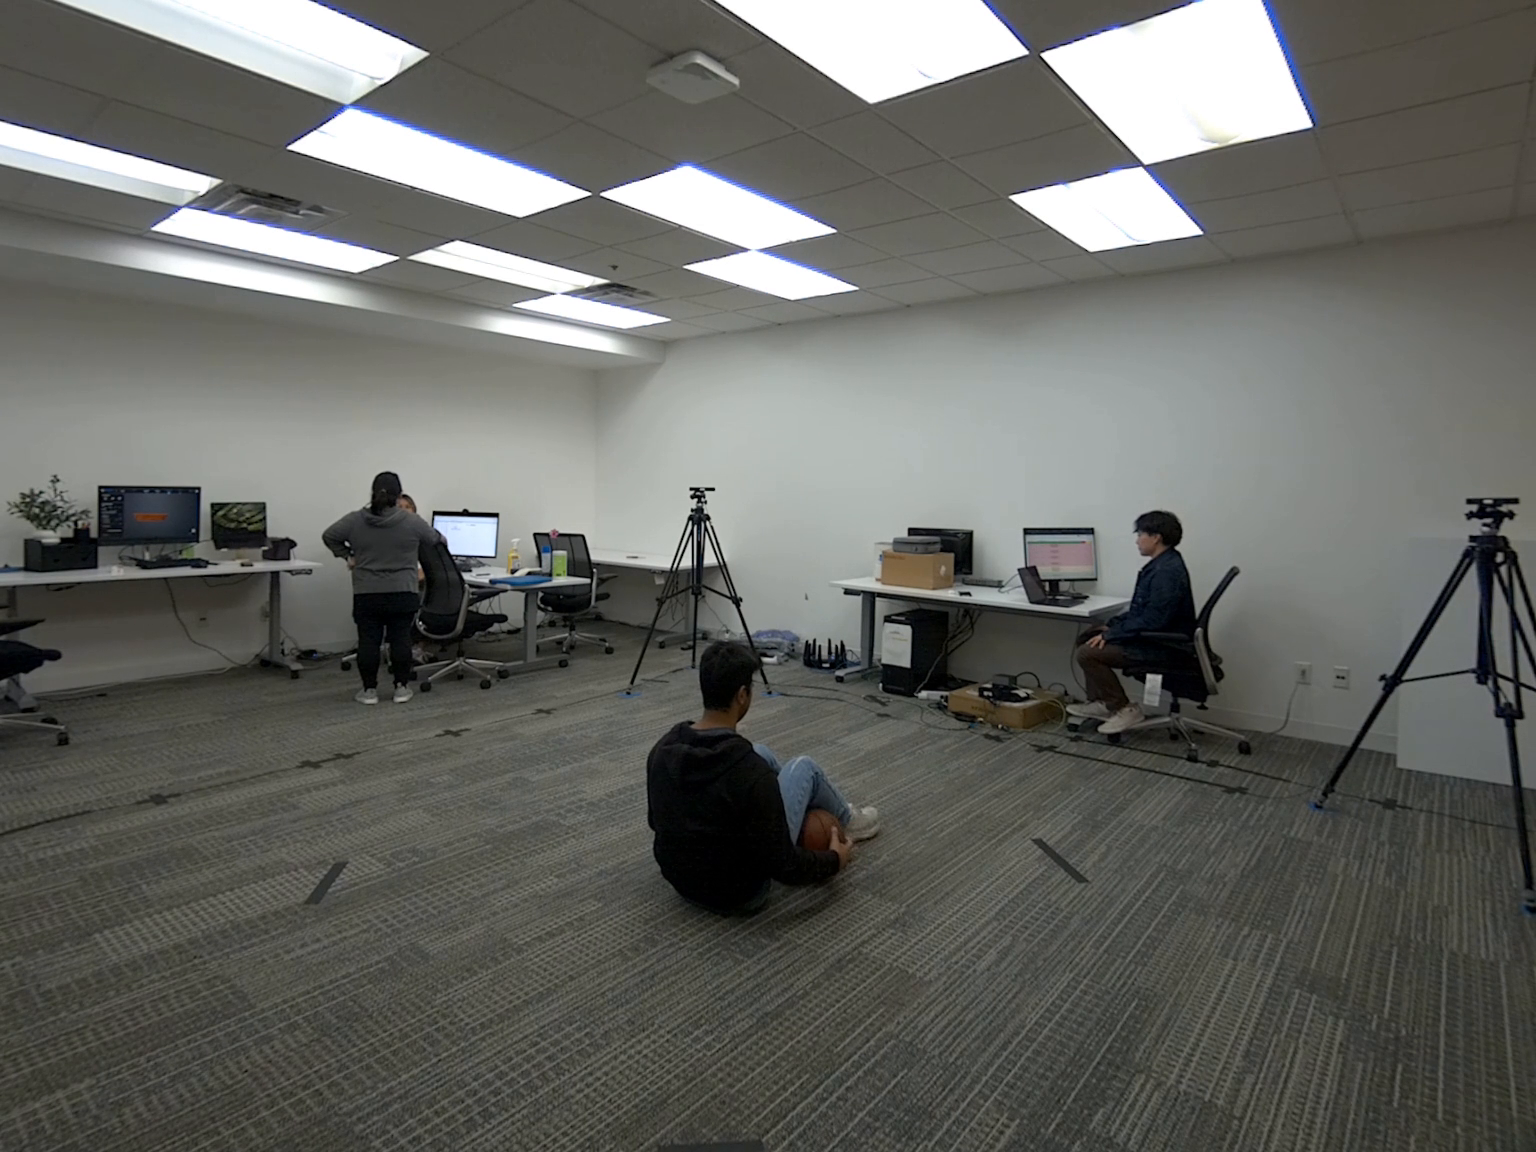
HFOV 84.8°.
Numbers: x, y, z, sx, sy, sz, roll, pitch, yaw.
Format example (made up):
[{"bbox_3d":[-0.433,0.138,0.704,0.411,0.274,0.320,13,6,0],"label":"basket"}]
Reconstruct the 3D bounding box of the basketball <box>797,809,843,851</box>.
[{"bbox_3d":[0.164,0.954,3.046,0.235,0.235,0.237,1,4,-2],"label":"basketball"}]
